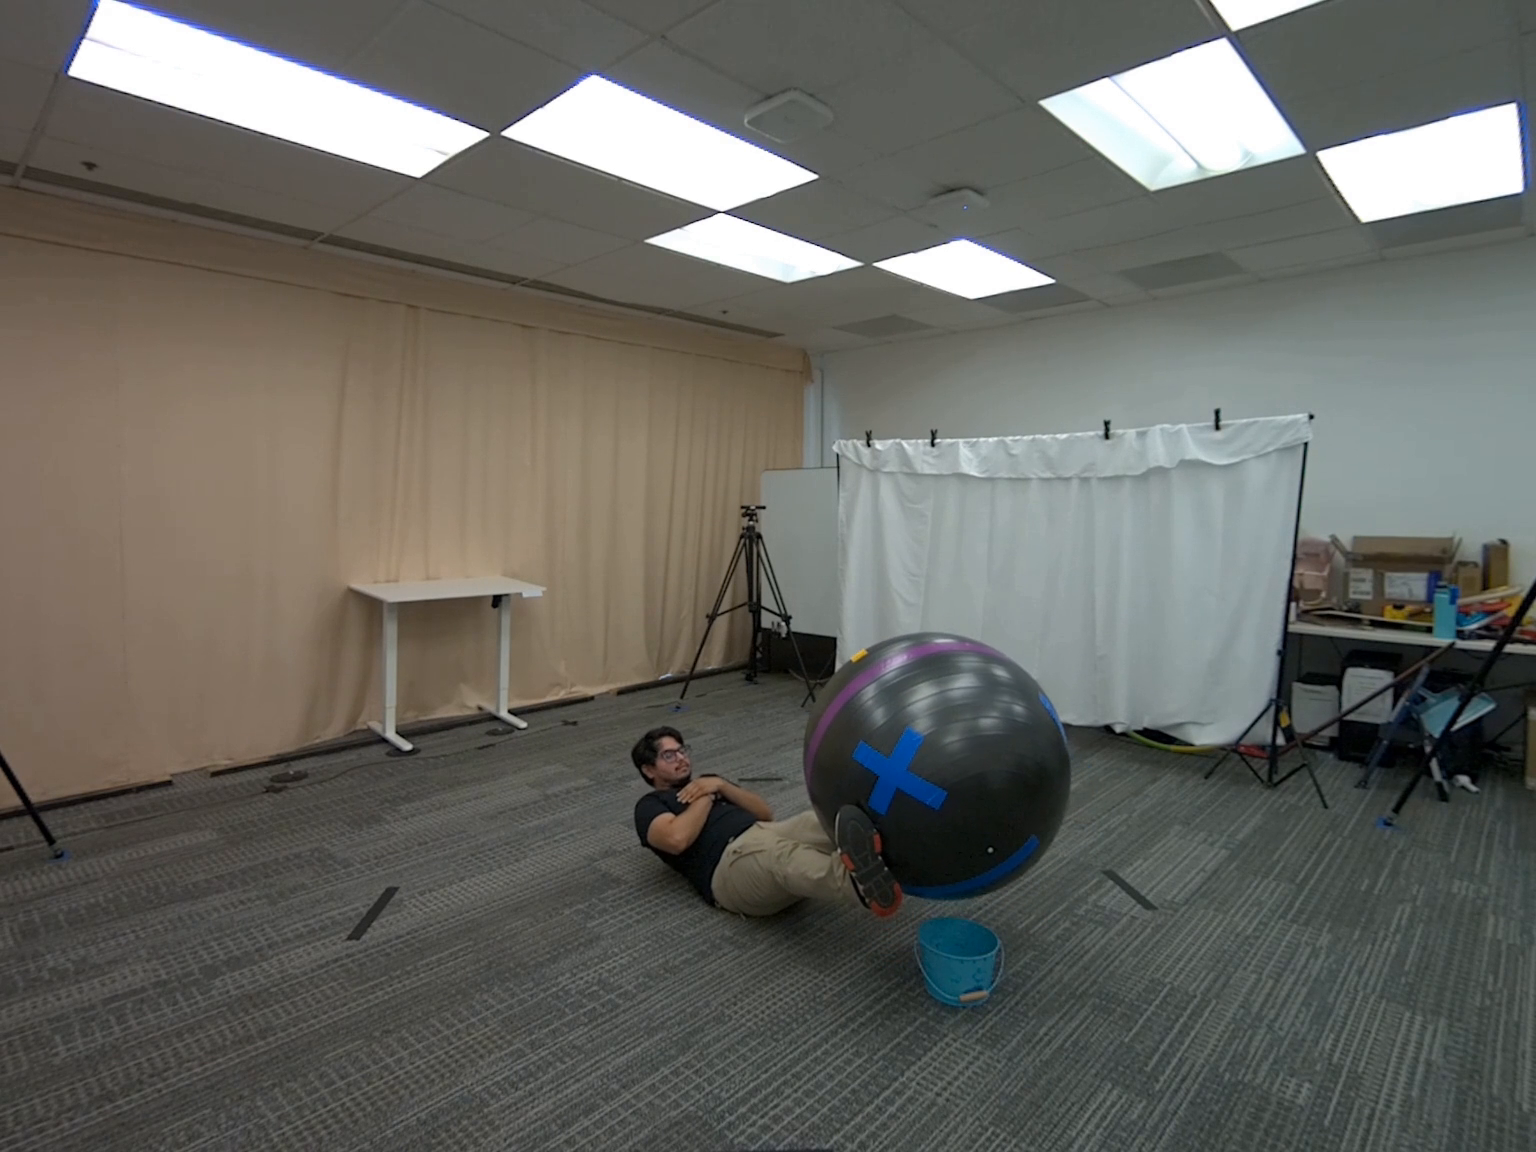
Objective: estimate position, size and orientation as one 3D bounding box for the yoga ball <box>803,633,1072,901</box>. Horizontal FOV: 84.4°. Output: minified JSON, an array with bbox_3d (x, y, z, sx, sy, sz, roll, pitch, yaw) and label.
[{"bbox_3d":[0.490,0.555,2.481,0.757,0.756,0.760,0,4,-2],"label":"yoga ball"}]
